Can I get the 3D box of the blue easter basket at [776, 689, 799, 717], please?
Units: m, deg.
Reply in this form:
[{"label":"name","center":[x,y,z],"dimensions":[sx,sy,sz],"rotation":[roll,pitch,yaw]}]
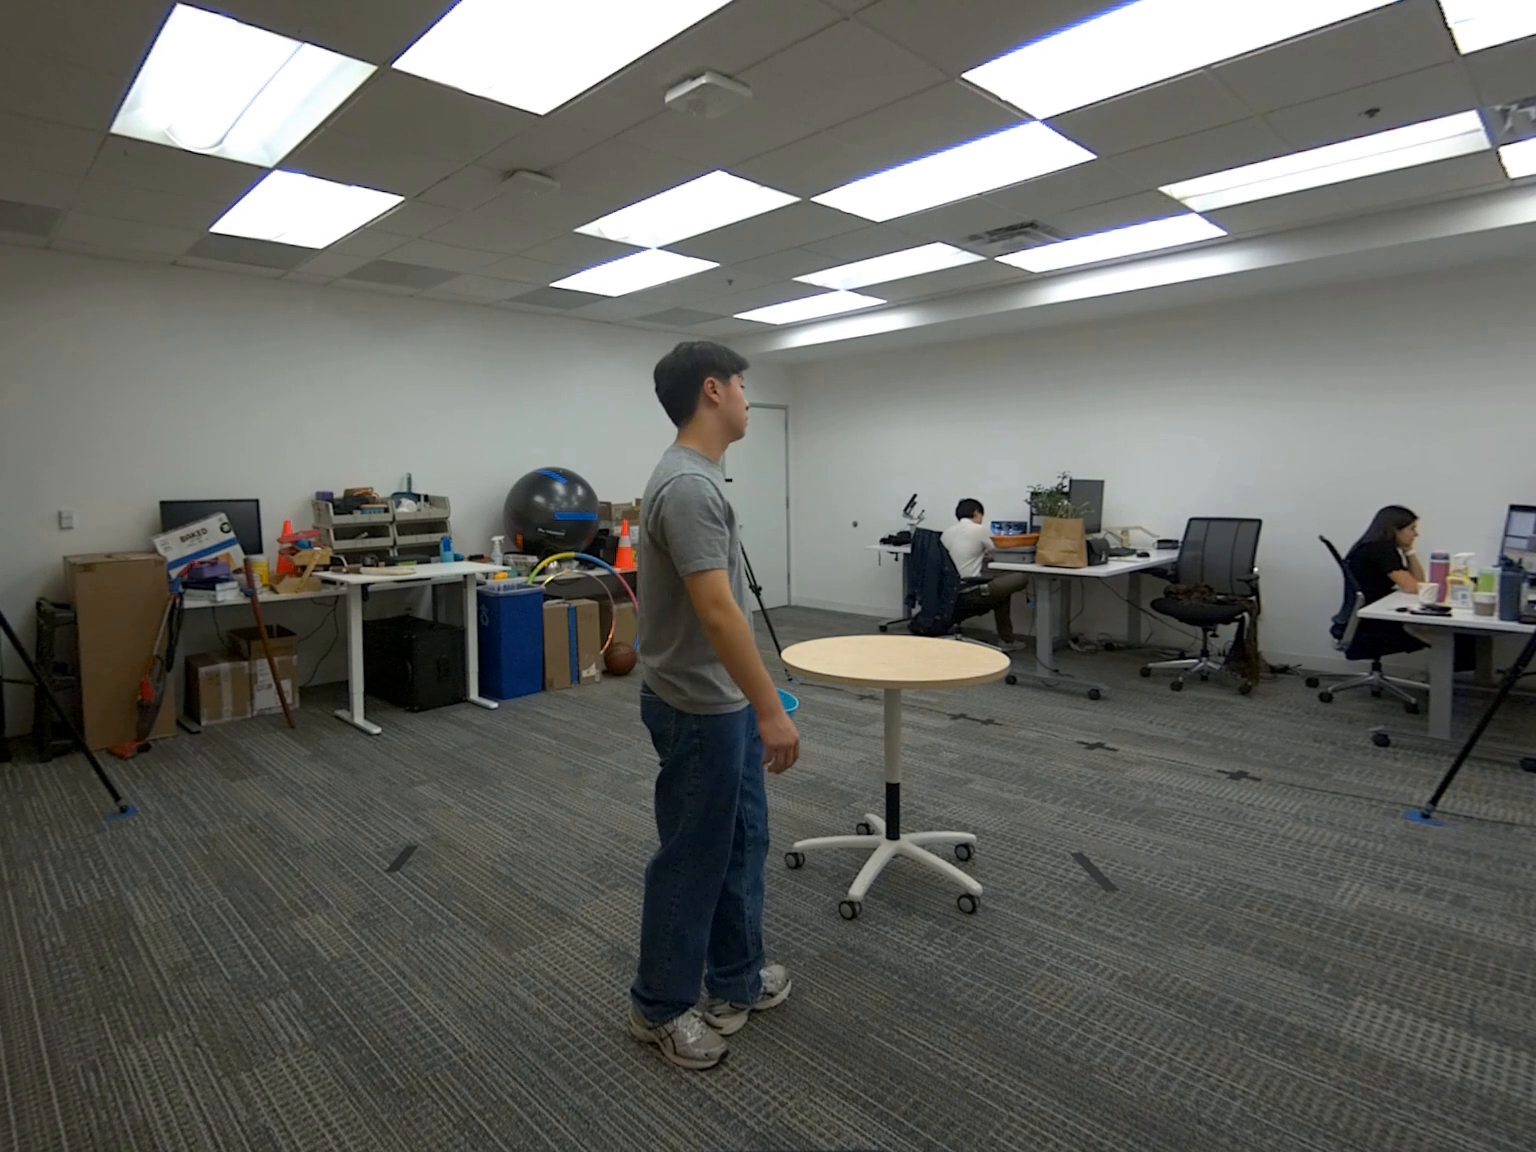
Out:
[{"label":"blue easter basket","center":[-0.018,0.424,2.472],"dimensions":[0.243,0.154,0.246],"rotation":[7,11,-3]}]
